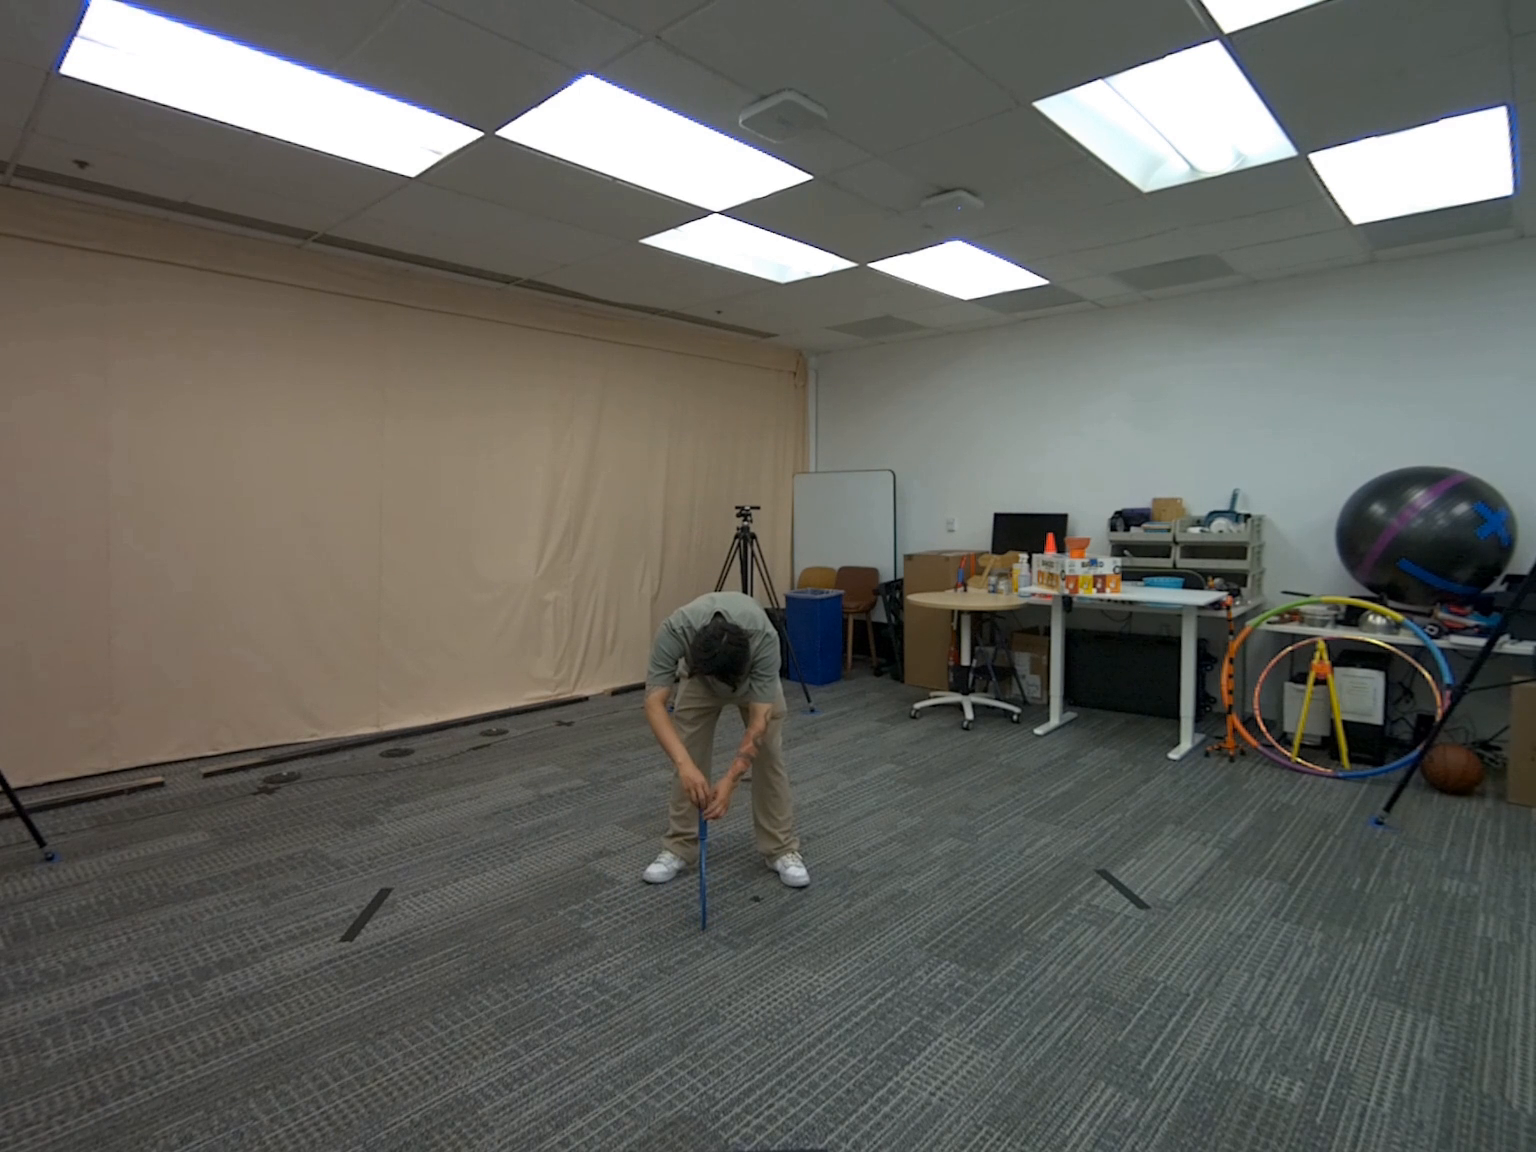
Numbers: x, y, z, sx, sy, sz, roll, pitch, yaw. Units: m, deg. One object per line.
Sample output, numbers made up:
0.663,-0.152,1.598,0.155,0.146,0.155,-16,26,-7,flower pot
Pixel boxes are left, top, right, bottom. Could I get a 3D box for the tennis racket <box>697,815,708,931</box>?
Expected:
-0.214,0.950,2.774,0.031,0.431,0.216,-2,8,-9,tennis racket
